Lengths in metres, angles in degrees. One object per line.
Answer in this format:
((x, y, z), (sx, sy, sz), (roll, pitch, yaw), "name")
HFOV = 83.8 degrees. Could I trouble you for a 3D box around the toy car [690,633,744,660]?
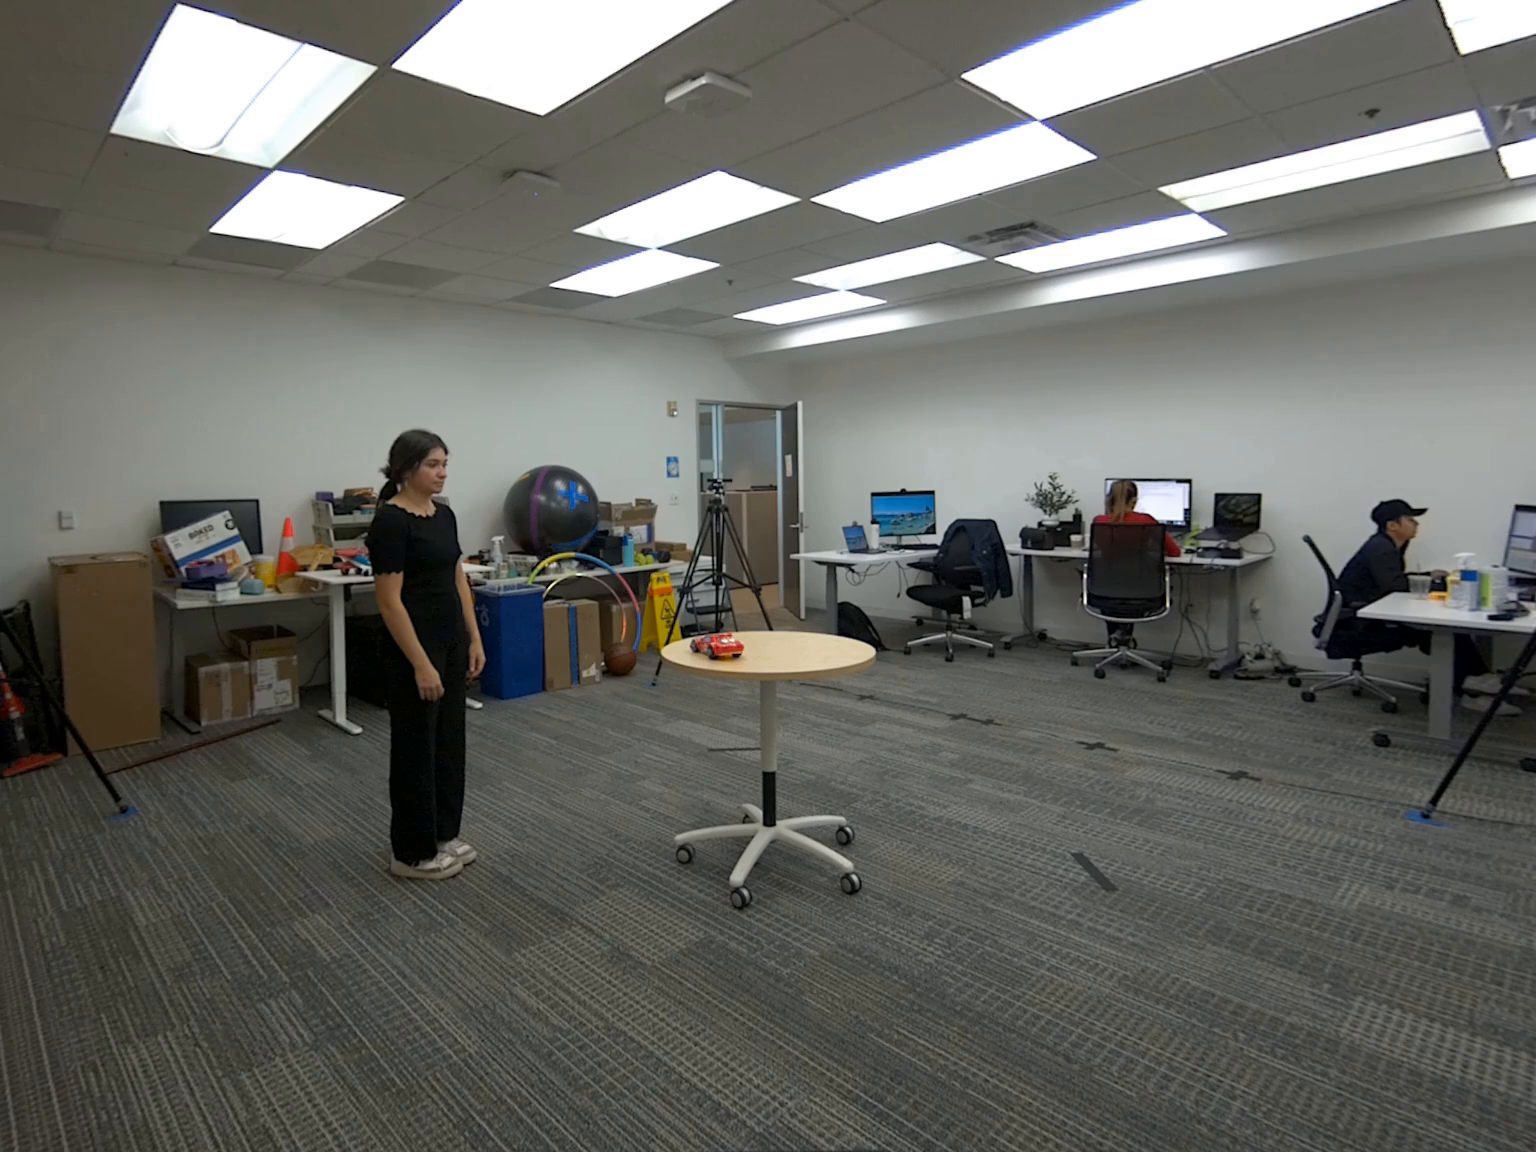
((-0.168, 0.242, 2.961), (0.127, 0.084, 0.259), (-3, -5, -27), "toy car")
